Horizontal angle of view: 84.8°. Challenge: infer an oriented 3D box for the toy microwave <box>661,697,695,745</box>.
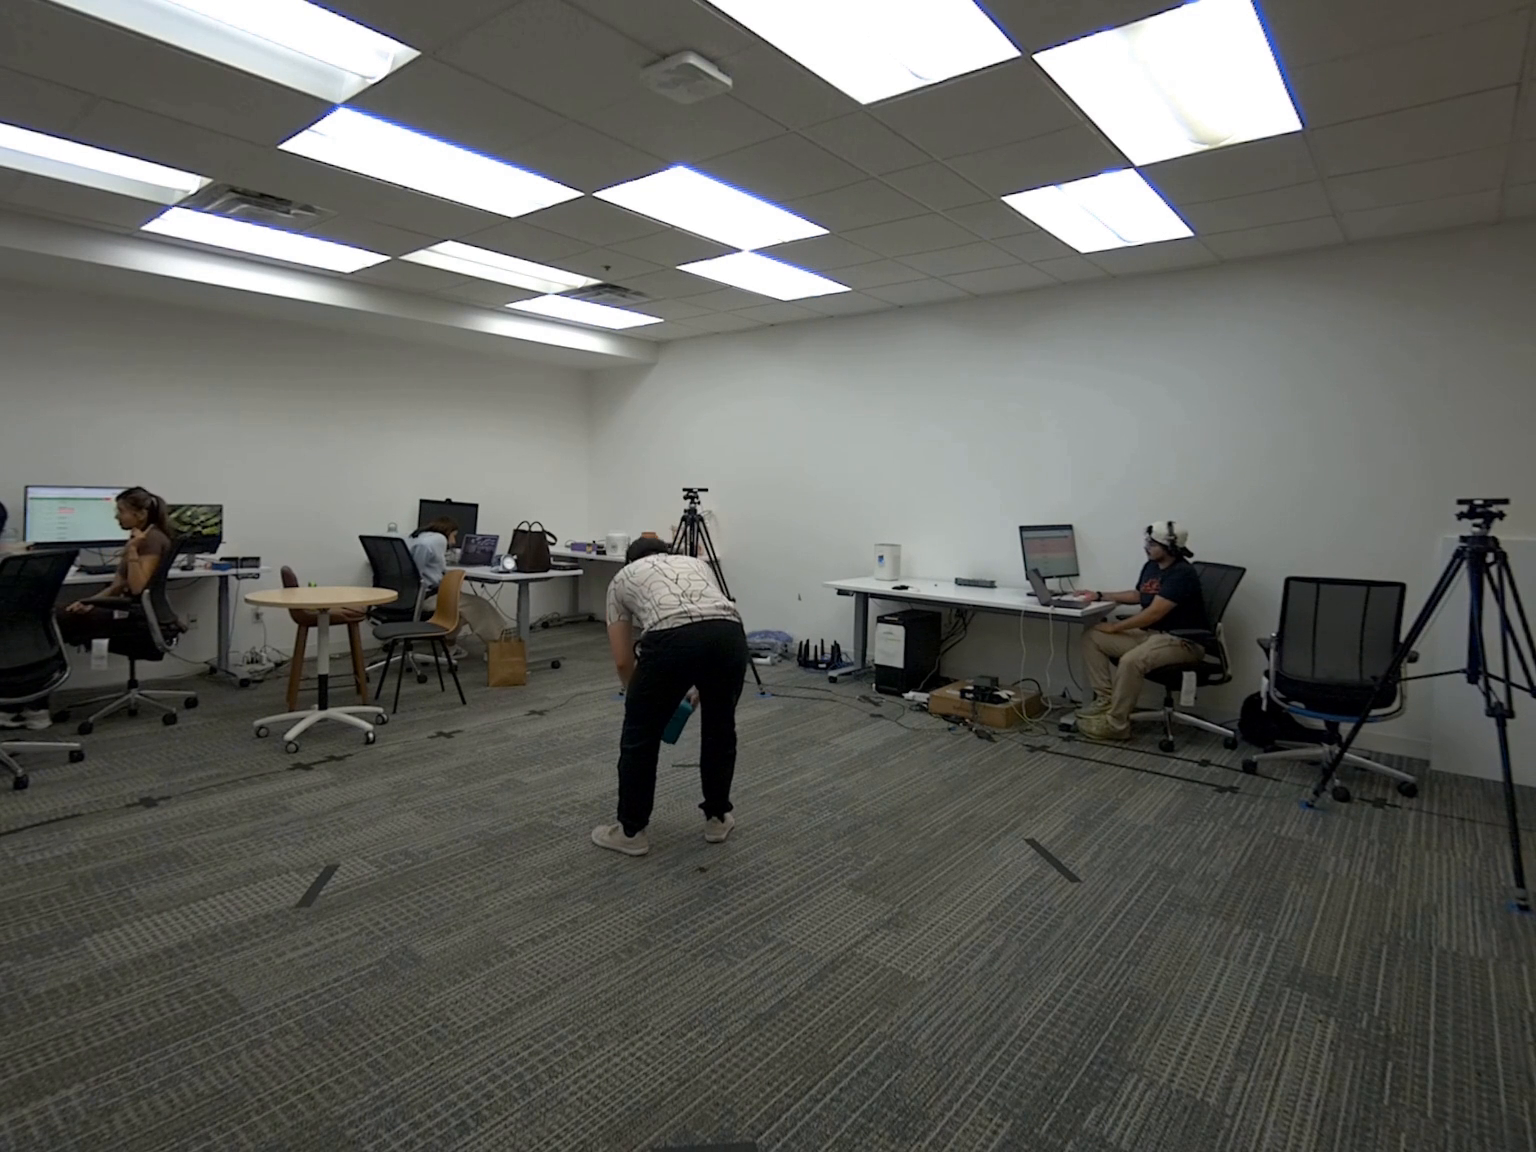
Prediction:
[{"bbox_3d":[-0.450,0.569,3.626,0.149,0.184,0.292,22,3,-17],"label":"toy microwave"}]
